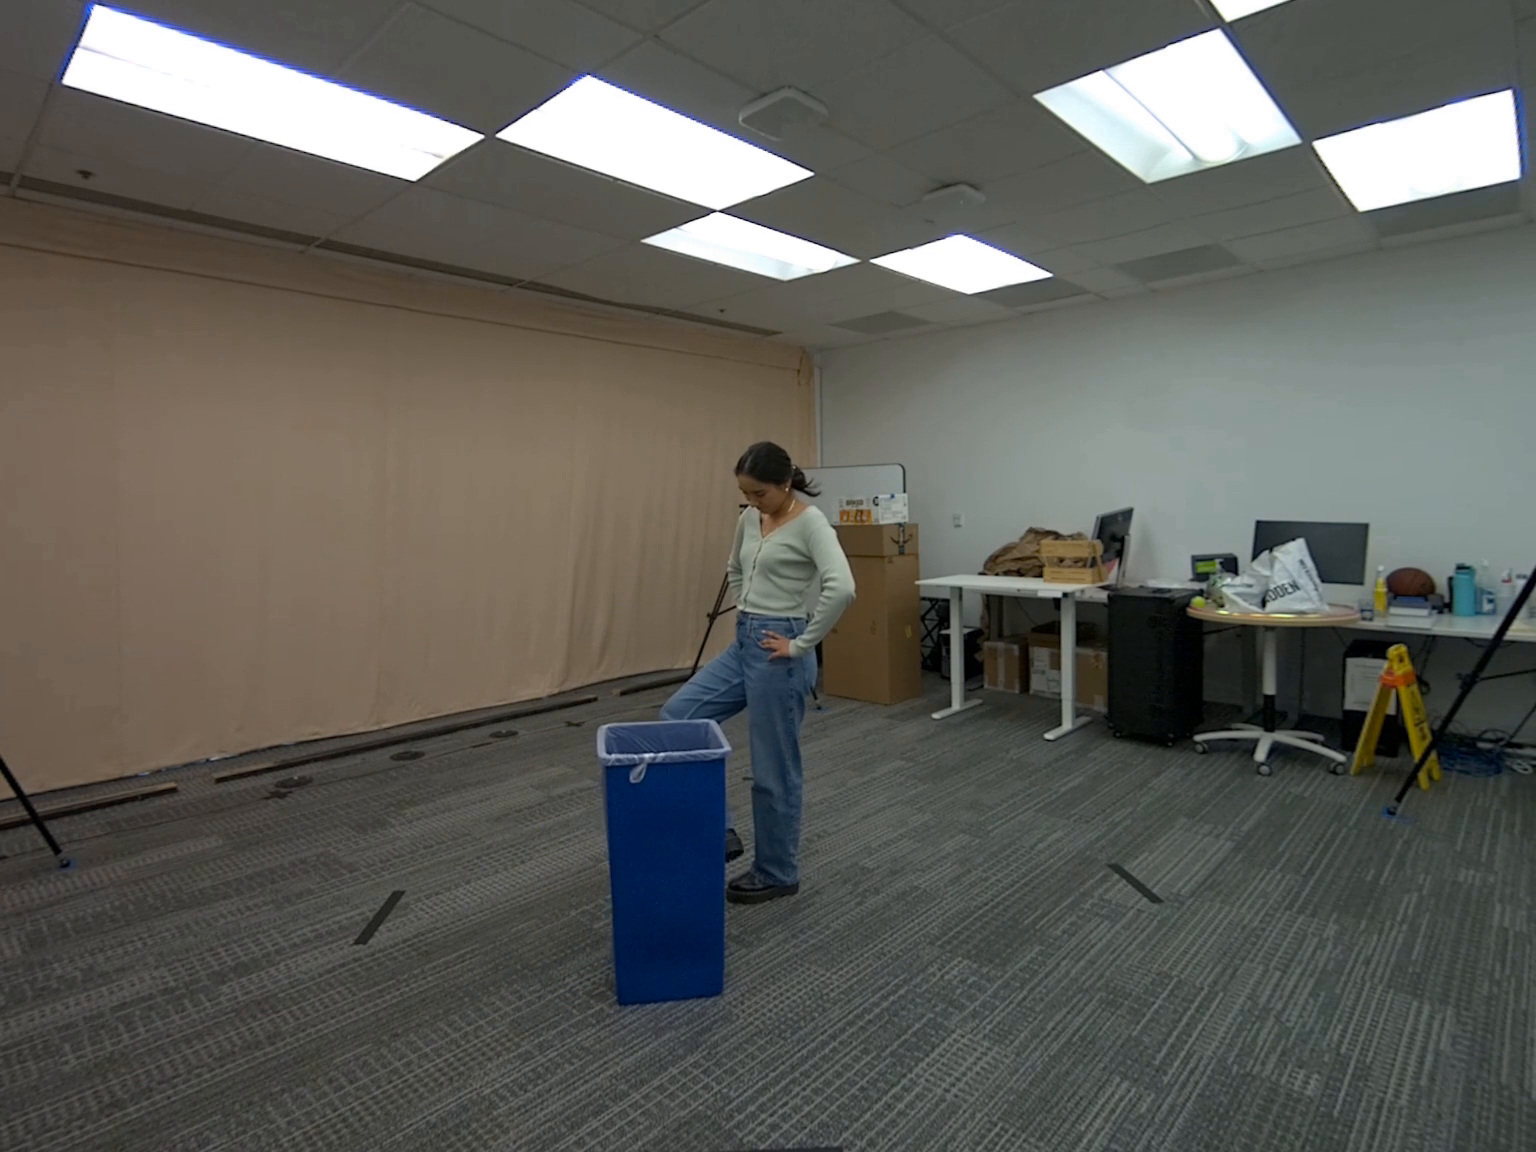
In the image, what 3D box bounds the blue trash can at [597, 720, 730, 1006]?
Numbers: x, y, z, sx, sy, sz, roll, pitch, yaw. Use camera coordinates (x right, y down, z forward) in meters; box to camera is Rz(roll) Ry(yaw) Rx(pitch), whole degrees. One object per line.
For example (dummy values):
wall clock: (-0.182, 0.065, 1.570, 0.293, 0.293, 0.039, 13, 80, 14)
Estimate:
blue trash can: (-0.303, 0.831, 2.500, 0.370, 0.712, 0.383, -2, 3, -11)
